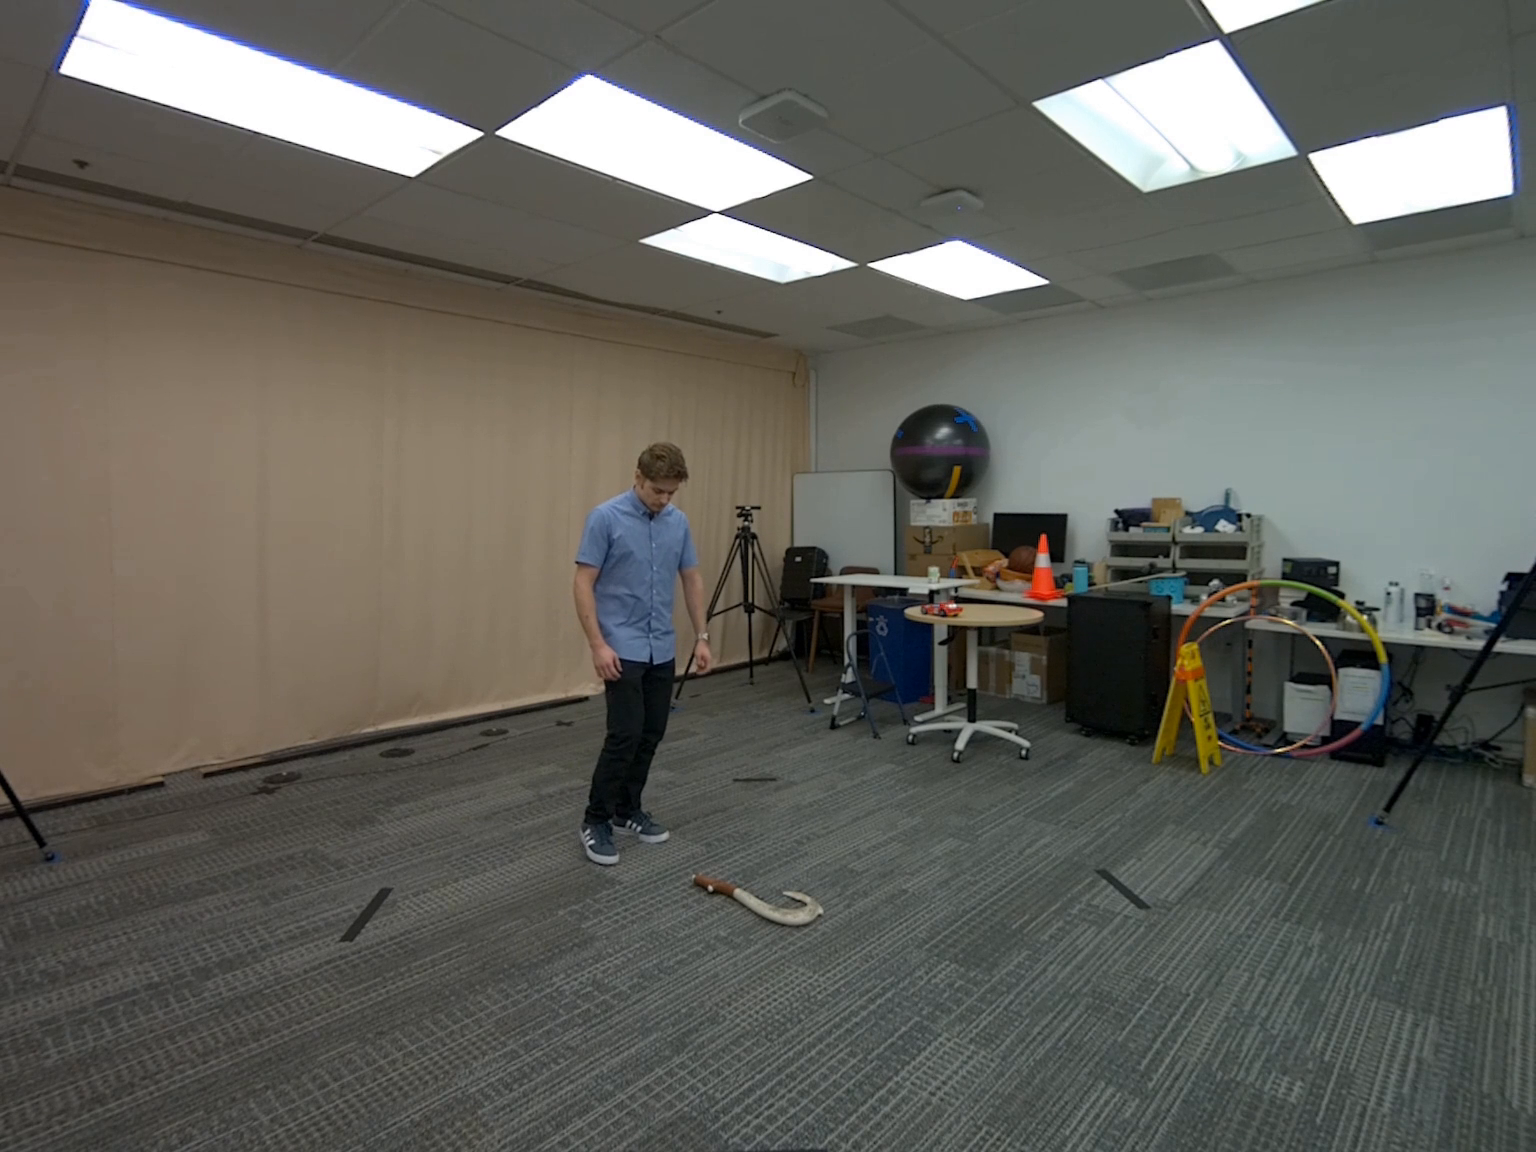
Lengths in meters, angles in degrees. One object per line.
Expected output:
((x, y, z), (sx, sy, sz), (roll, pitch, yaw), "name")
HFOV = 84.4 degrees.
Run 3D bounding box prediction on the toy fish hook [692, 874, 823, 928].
((-0.040, 1.129, 2.982), (0.523, 0.048, 0.217), (5, -2, 39), "toy fish hook")
